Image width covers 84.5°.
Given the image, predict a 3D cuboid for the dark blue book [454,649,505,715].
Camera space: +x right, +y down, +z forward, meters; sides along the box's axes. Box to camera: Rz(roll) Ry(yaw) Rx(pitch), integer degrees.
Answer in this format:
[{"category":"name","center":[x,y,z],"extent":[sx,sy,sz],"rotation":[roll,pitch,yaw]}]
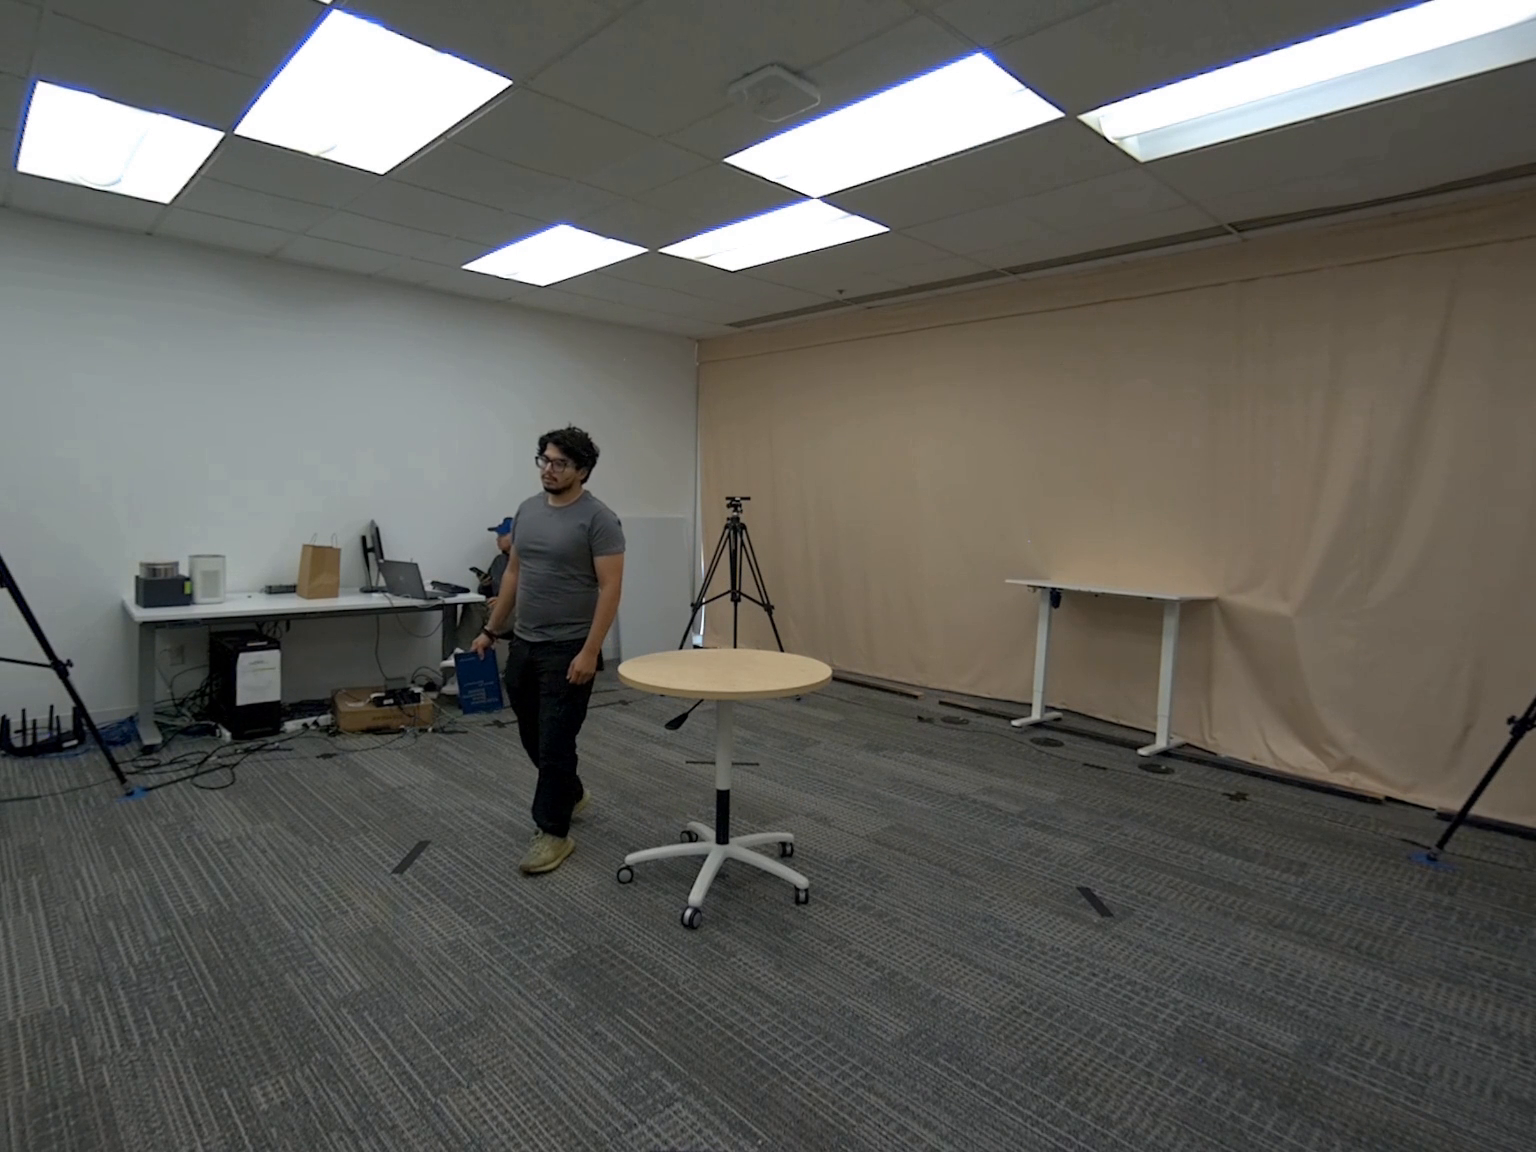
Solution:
[{"category":"dark blue book","center":[-1.172,0.417,3.391],"extent":[0.162,0.244,0.046],"rotation":[-8,5,-13]}]
